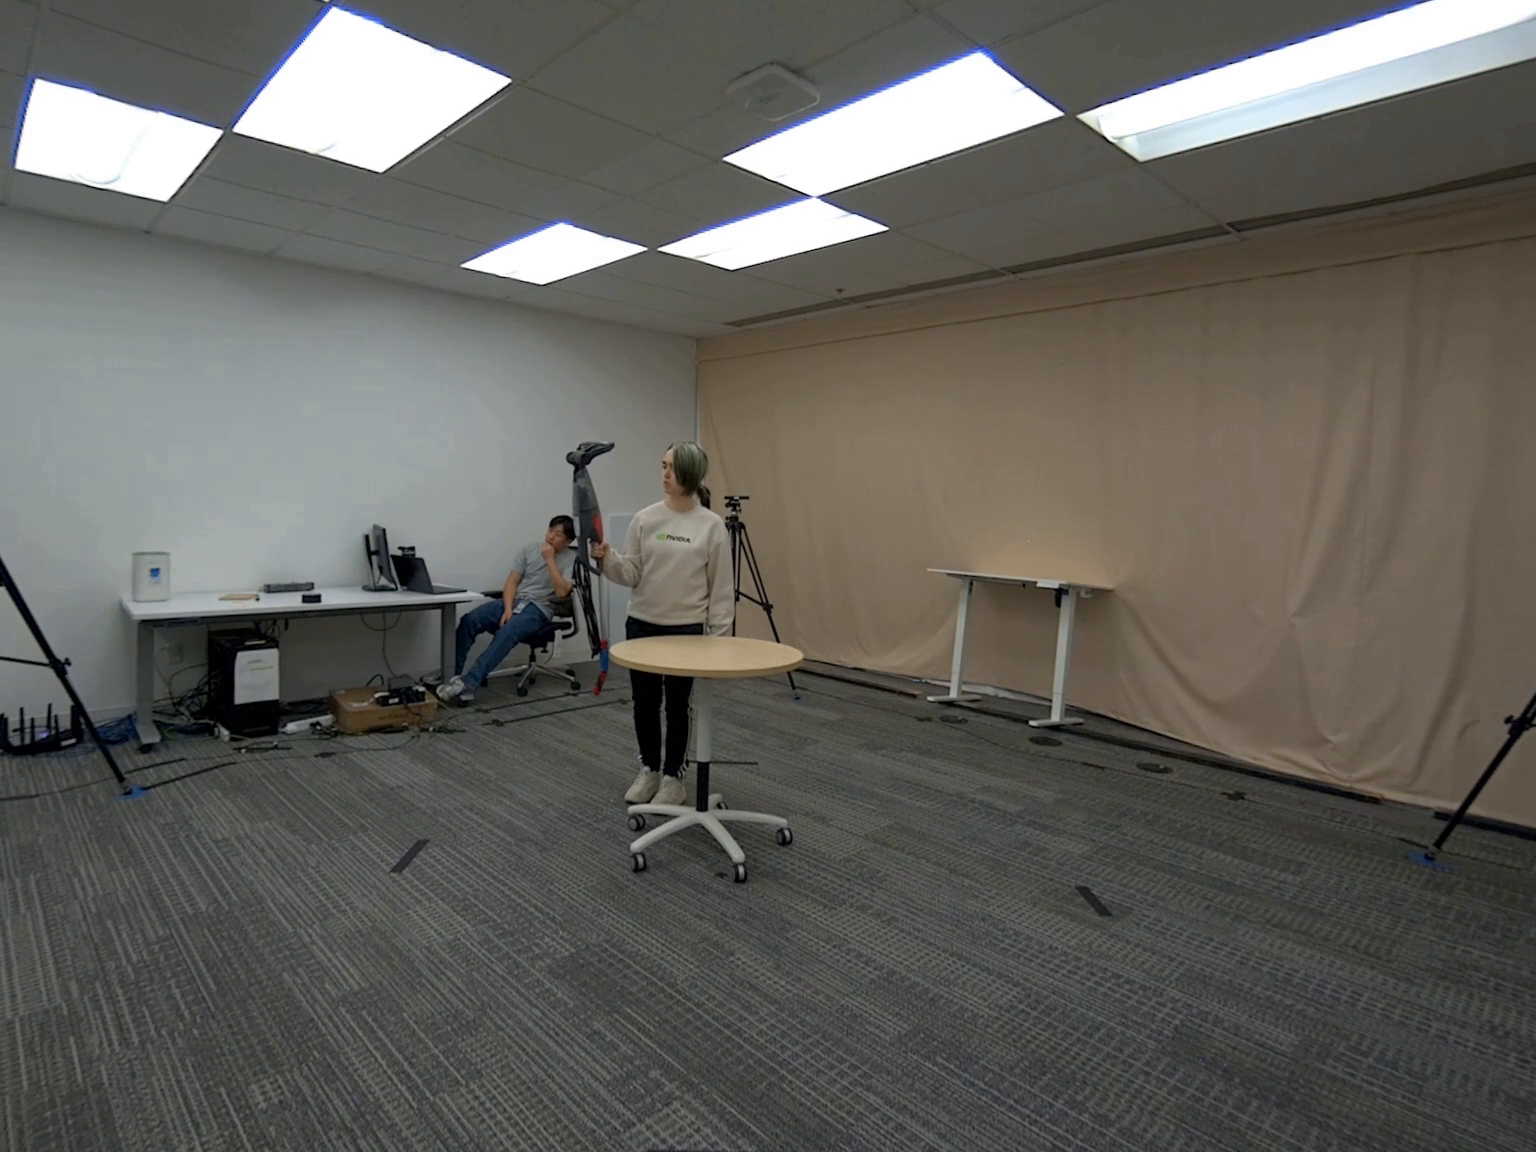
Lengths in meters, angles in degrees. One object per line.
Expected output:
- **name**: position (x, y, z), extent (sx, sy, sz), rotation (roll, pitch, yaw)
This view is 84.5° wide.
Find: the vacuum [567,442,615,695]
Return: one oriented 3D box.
- **vacuum**: position (-0.763, -0.014, 3.557), extent (0.141, 1.044, 0.259), rotation (-5, 8, -36)
